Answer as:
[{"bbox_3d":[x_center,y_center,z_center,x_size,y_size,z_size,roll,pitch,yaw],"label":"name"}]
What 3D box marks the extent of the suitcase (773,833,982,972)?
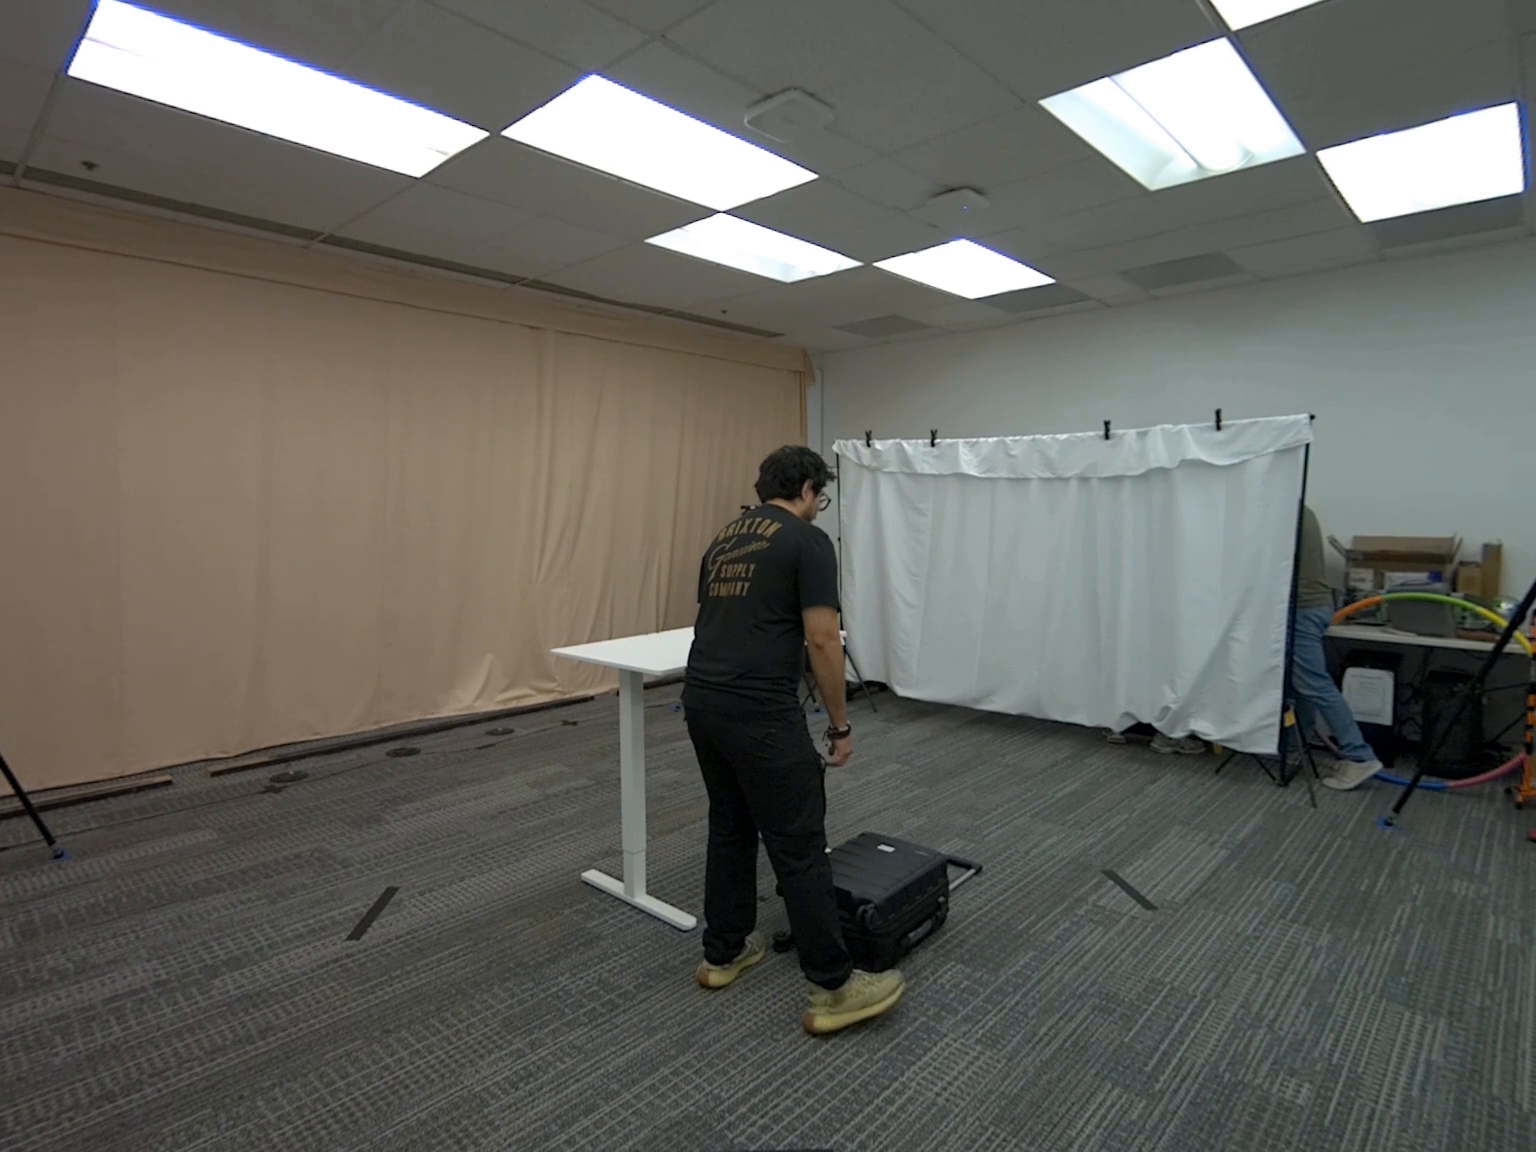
[{"bbox_3d":[0.460,1.028,2.872,0.396,0.256,0.950,2,7,38],"label":"suitcase"}]
